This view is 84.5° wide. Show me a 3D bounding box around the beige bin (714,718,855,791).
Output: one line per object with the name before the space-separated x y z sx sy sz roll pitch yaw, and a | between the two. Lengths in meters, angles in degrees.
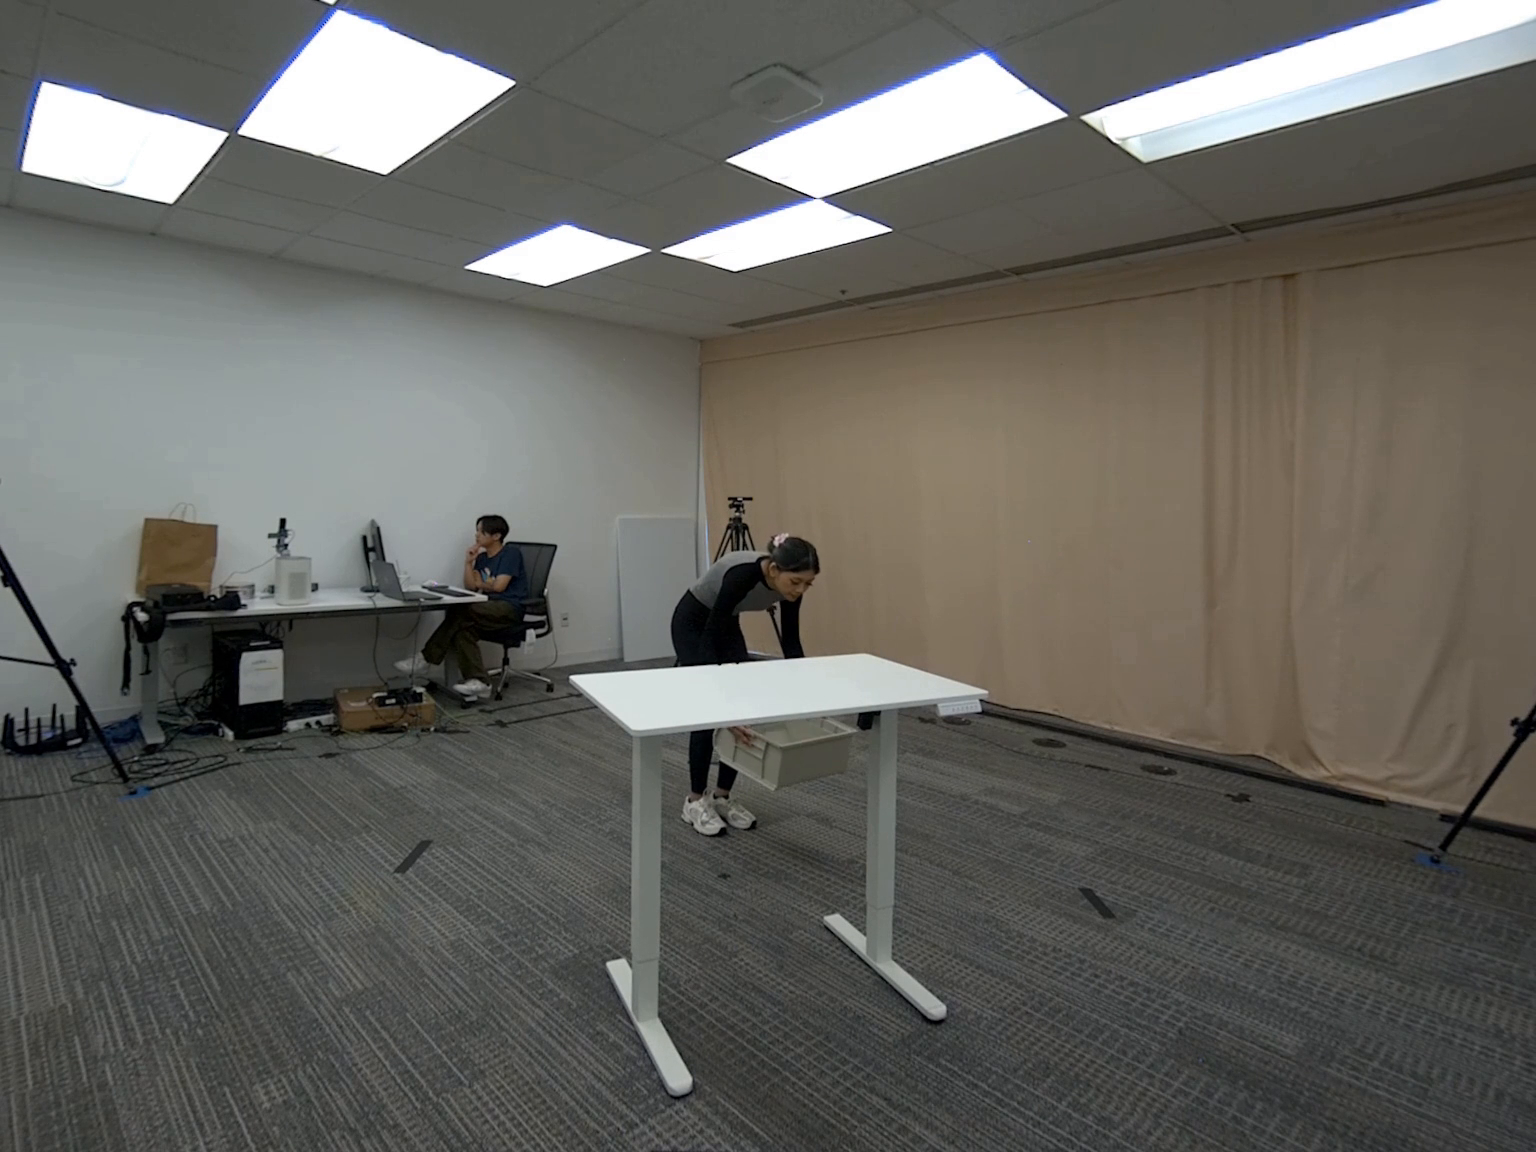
beige bin | 0.057 0.659 3.304 0.412 0.188 0.388 0 12 -43
